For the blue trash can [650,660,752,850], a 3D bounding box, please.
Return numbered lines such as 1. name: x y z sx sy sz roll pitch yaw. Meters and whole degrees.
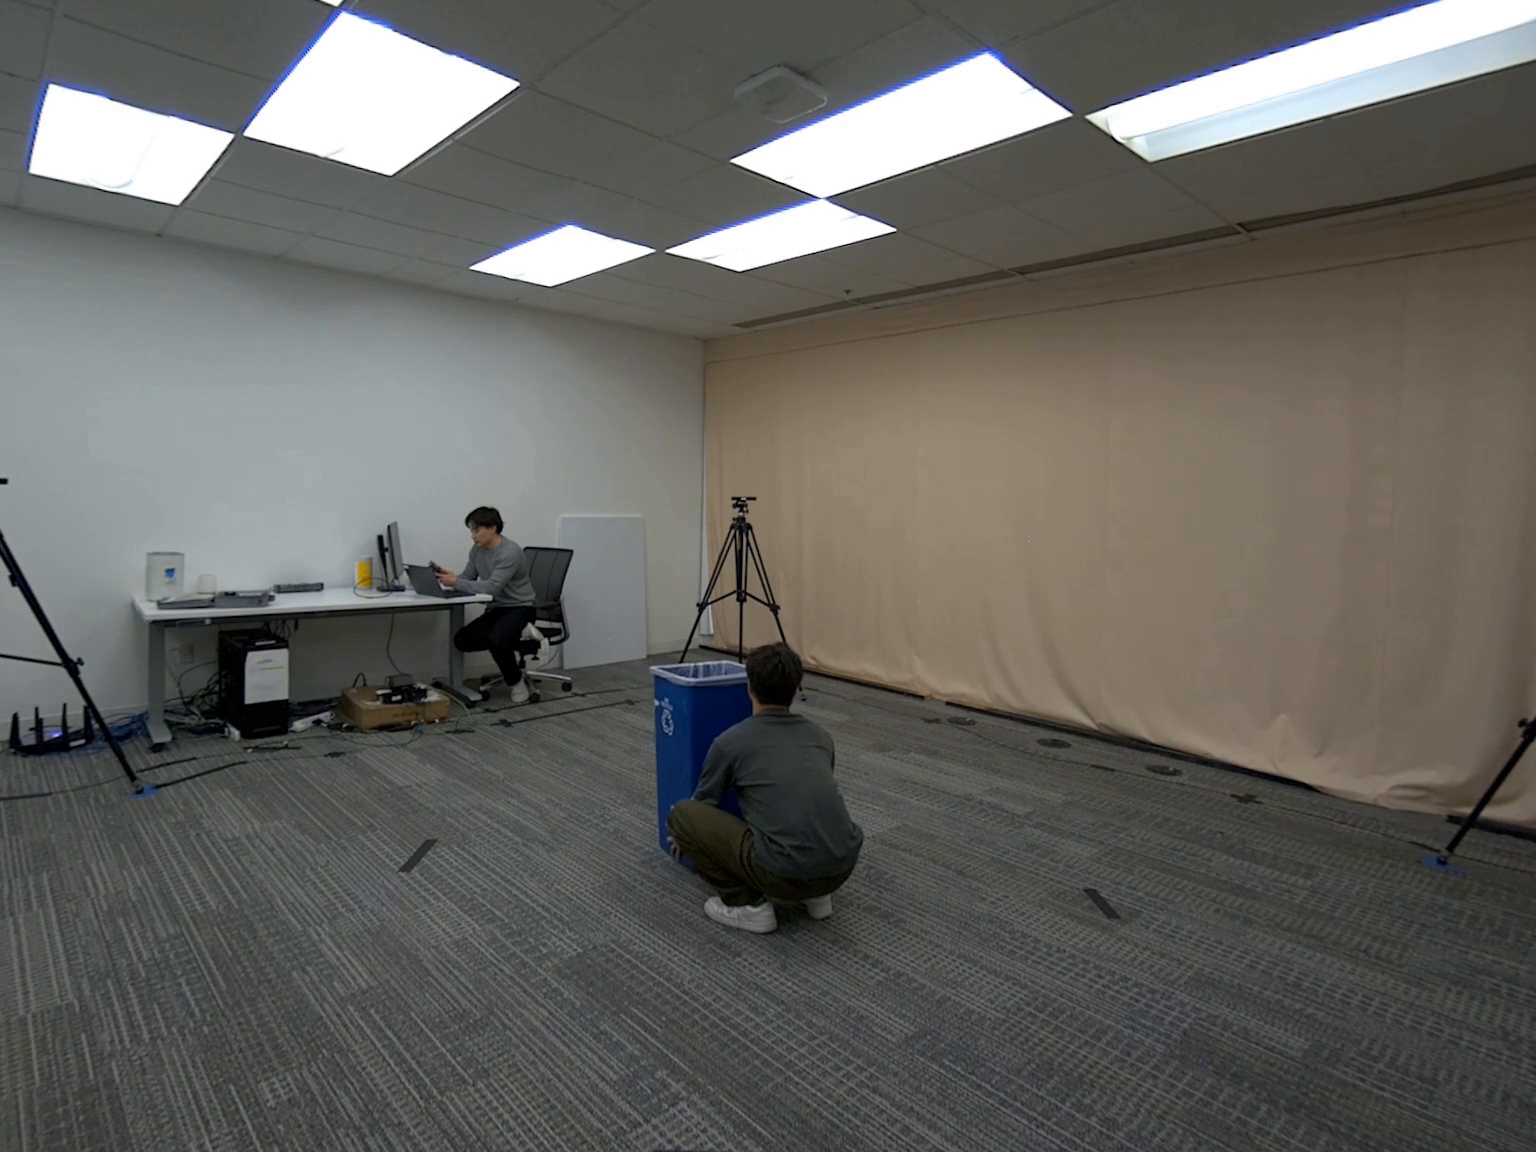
1. blue trash can: -0.247 0.720 3.296 0.366 0.713 0.386 0 1 -31
